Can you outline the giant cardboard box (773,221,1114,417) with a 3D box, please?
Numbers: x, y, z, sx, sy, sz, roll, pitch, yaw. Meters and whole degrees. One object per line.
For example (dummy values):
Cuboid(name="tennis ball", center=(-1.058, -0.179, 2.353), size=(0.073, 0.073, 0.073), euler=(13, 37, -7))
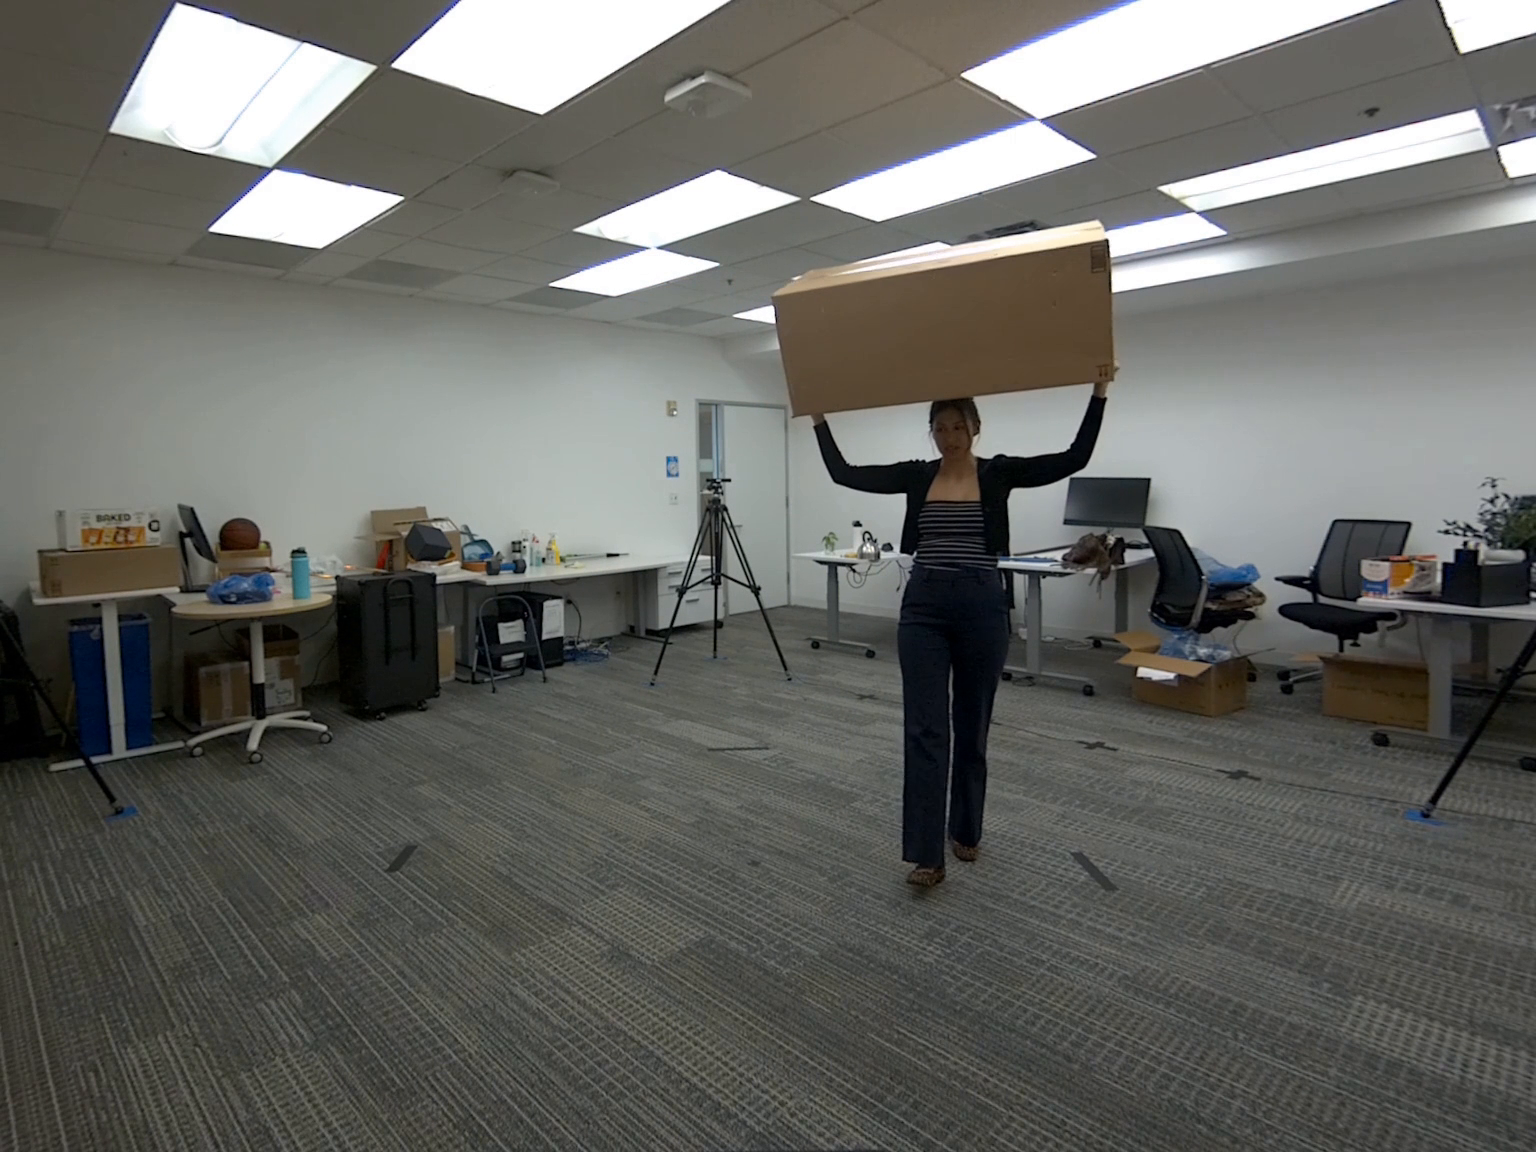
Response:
Cuboid(name="giant cardboard box", center=(0.604, -0.879, 2.945), size=(1.045, 0.417, 0.580), euler=(-3, 24, 21))
